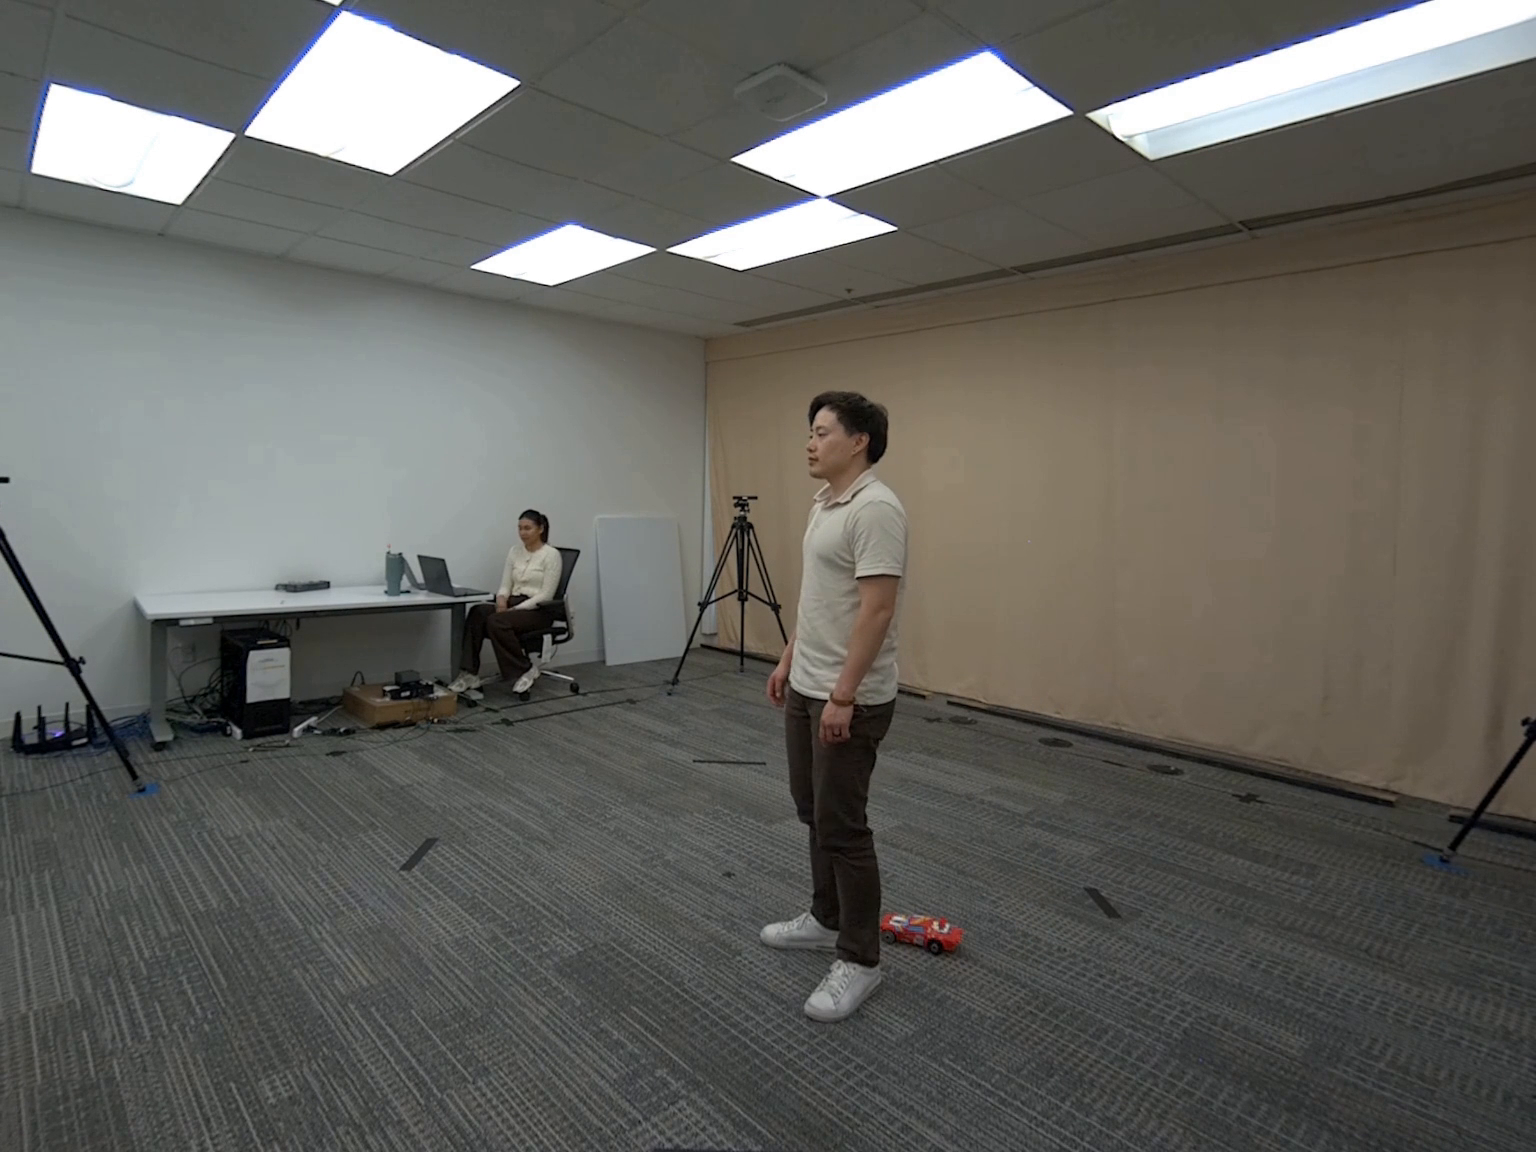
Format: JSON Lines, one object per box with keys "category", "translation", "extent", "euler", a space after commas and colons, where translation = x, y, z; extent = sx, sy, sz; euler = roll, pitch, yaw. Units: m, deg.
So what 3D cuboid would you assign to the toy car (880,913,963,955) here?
{"category": "toy car", "translation": [0.481, 1.129, 2.655], "extent": [0.258, 0.083, 0.128], "euler": [-8, 1, 24]}
